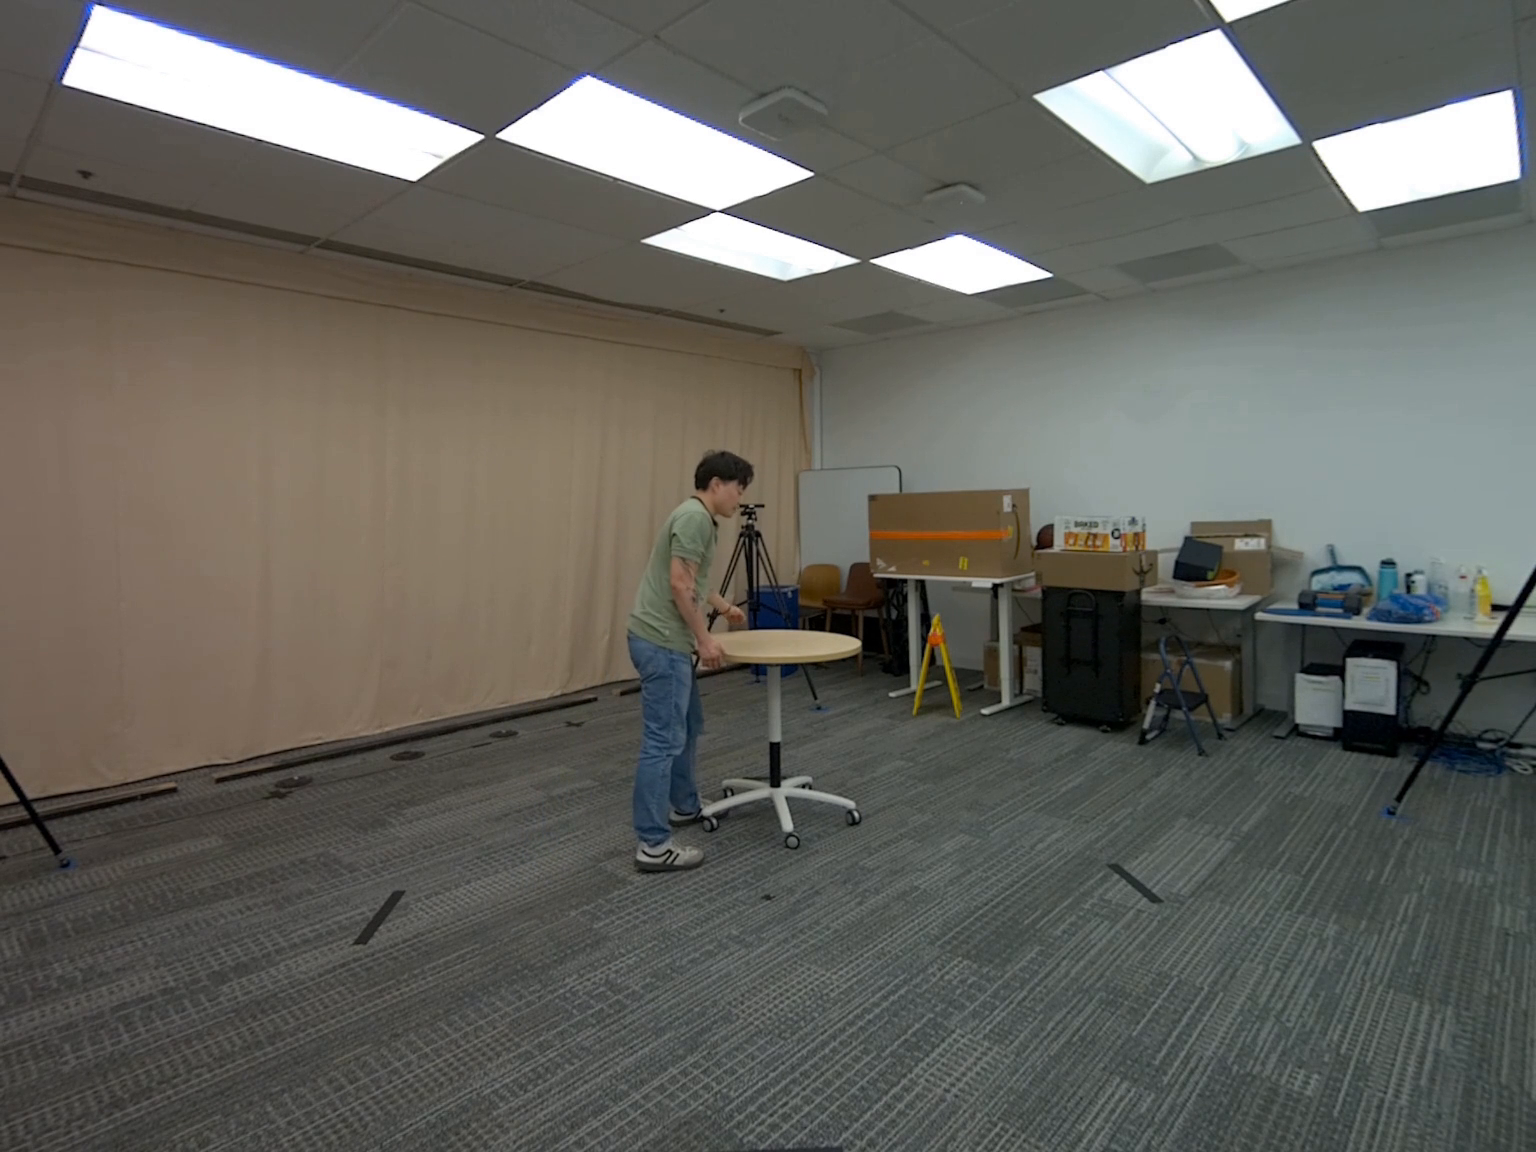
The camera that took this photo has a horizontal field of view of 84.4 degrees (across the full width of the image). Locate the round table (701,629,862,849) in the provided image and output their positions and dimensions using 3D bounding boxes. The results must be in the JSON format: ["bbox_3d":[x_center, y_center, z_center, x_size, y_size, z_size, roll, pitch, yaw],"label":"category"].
[{"bbox_3d":[0.031,0.684,3.725,0.763,0.793,0.766,-1,3,-2],"label":"round table"}]
